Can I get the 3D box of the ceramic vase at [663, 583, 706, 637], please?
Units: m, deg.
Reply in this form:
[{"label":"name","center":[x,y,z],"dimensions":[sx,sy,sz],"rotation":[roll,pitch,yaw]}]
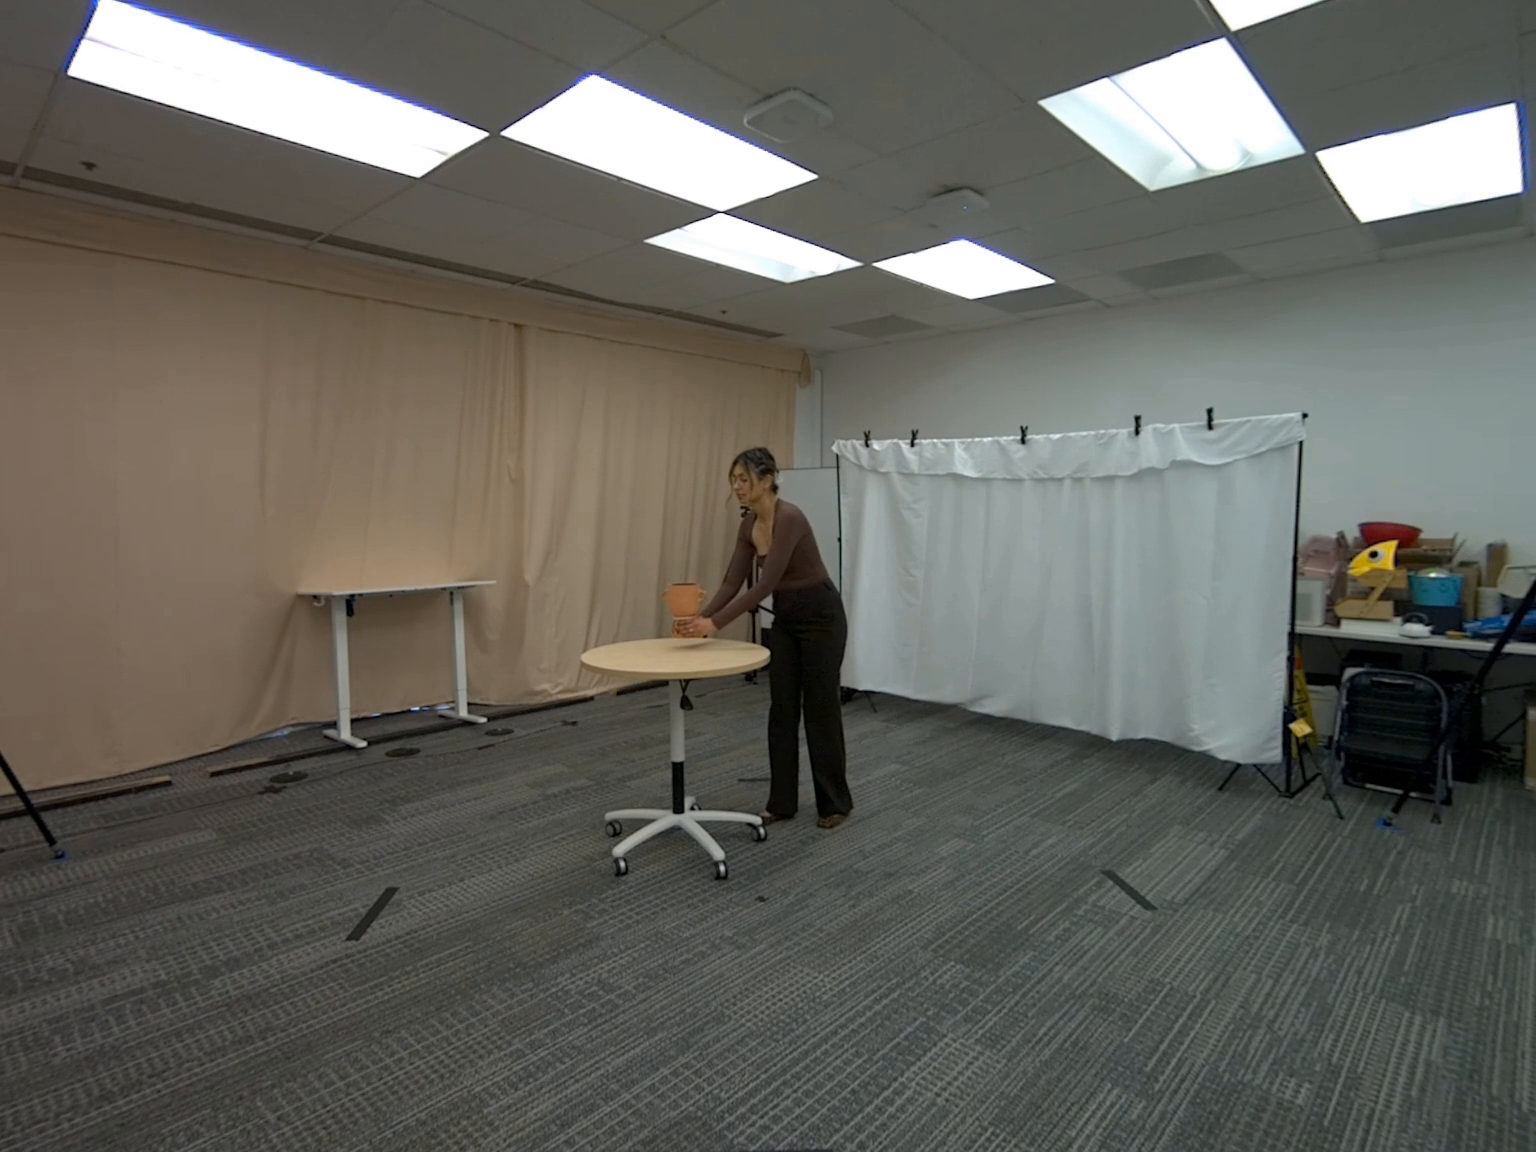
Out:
[{"label":"ceramic vase","center":[-0.346,0.142,3.509],"dimensions":[0.130,0.219,0.164],"rotation":[-3,5,-42]}]
